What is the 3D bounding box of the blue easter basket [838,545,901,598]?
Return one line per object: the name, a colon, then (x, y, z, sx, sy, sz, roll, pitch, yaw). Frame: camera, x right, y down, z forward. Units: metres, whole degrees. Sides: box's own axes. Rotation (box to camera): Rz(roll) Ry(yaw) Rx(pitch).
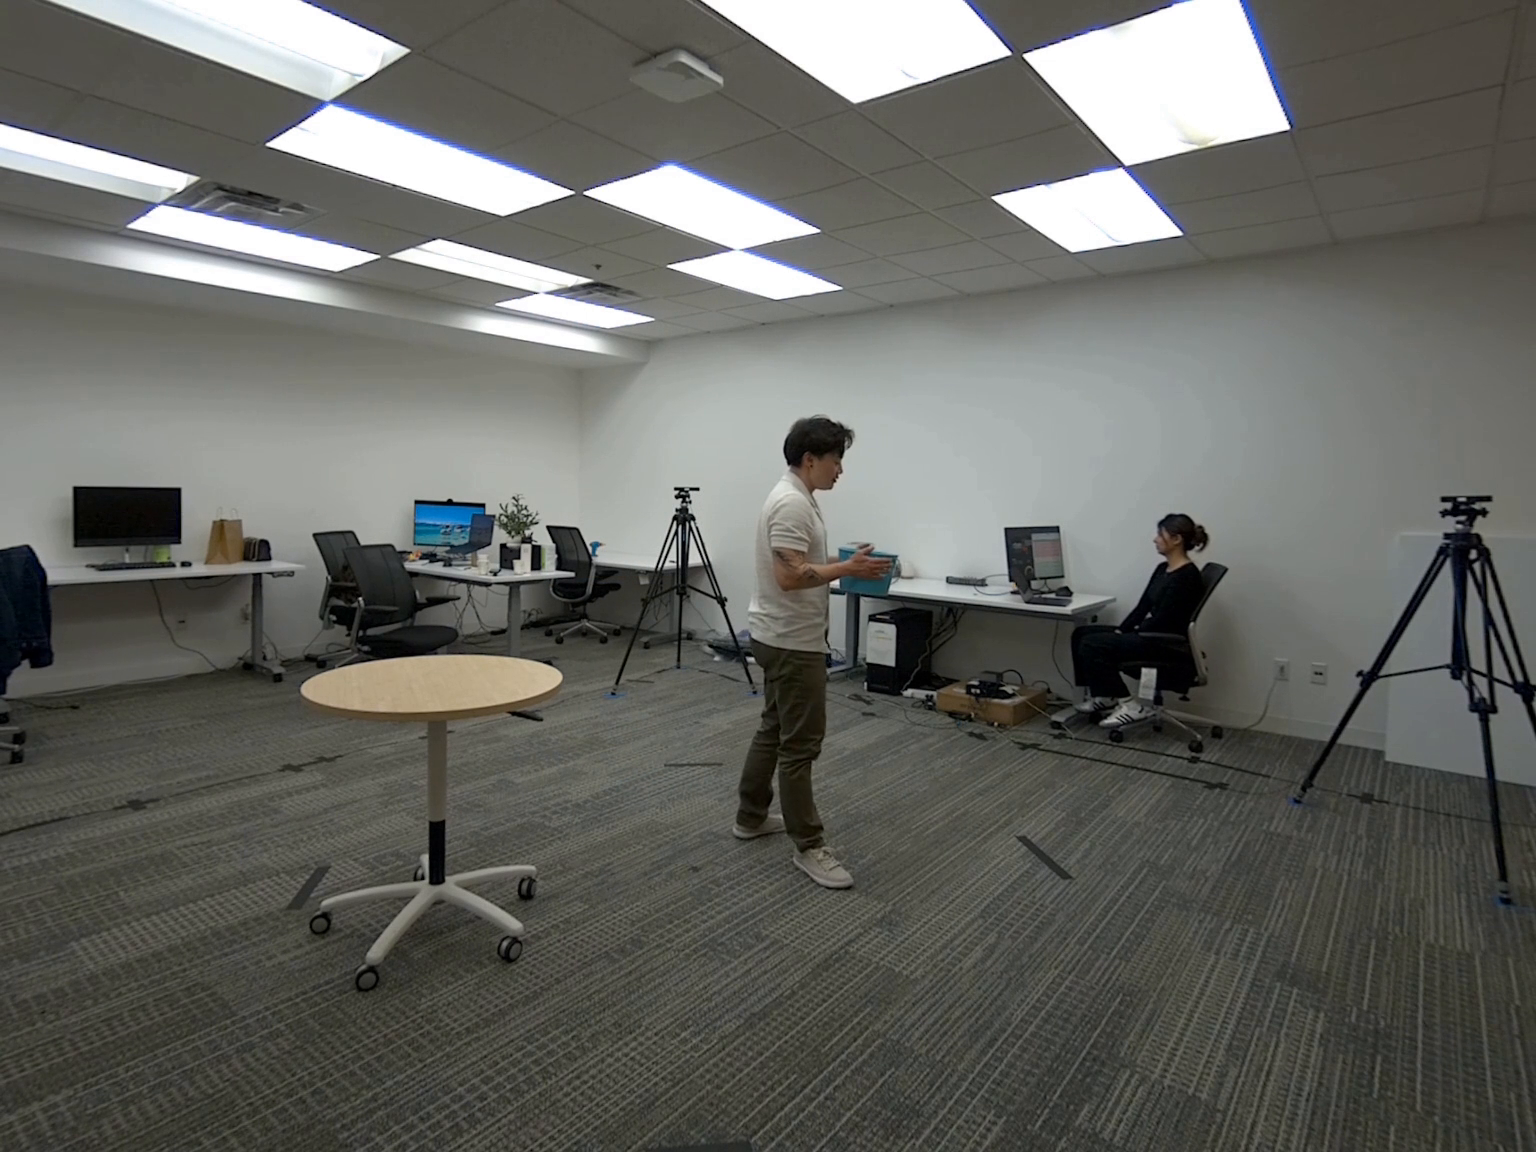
blue easter basket: (0.363, -0.017, 3.177, 0.243, 0.155, 0.244, 6, 4, -2)
